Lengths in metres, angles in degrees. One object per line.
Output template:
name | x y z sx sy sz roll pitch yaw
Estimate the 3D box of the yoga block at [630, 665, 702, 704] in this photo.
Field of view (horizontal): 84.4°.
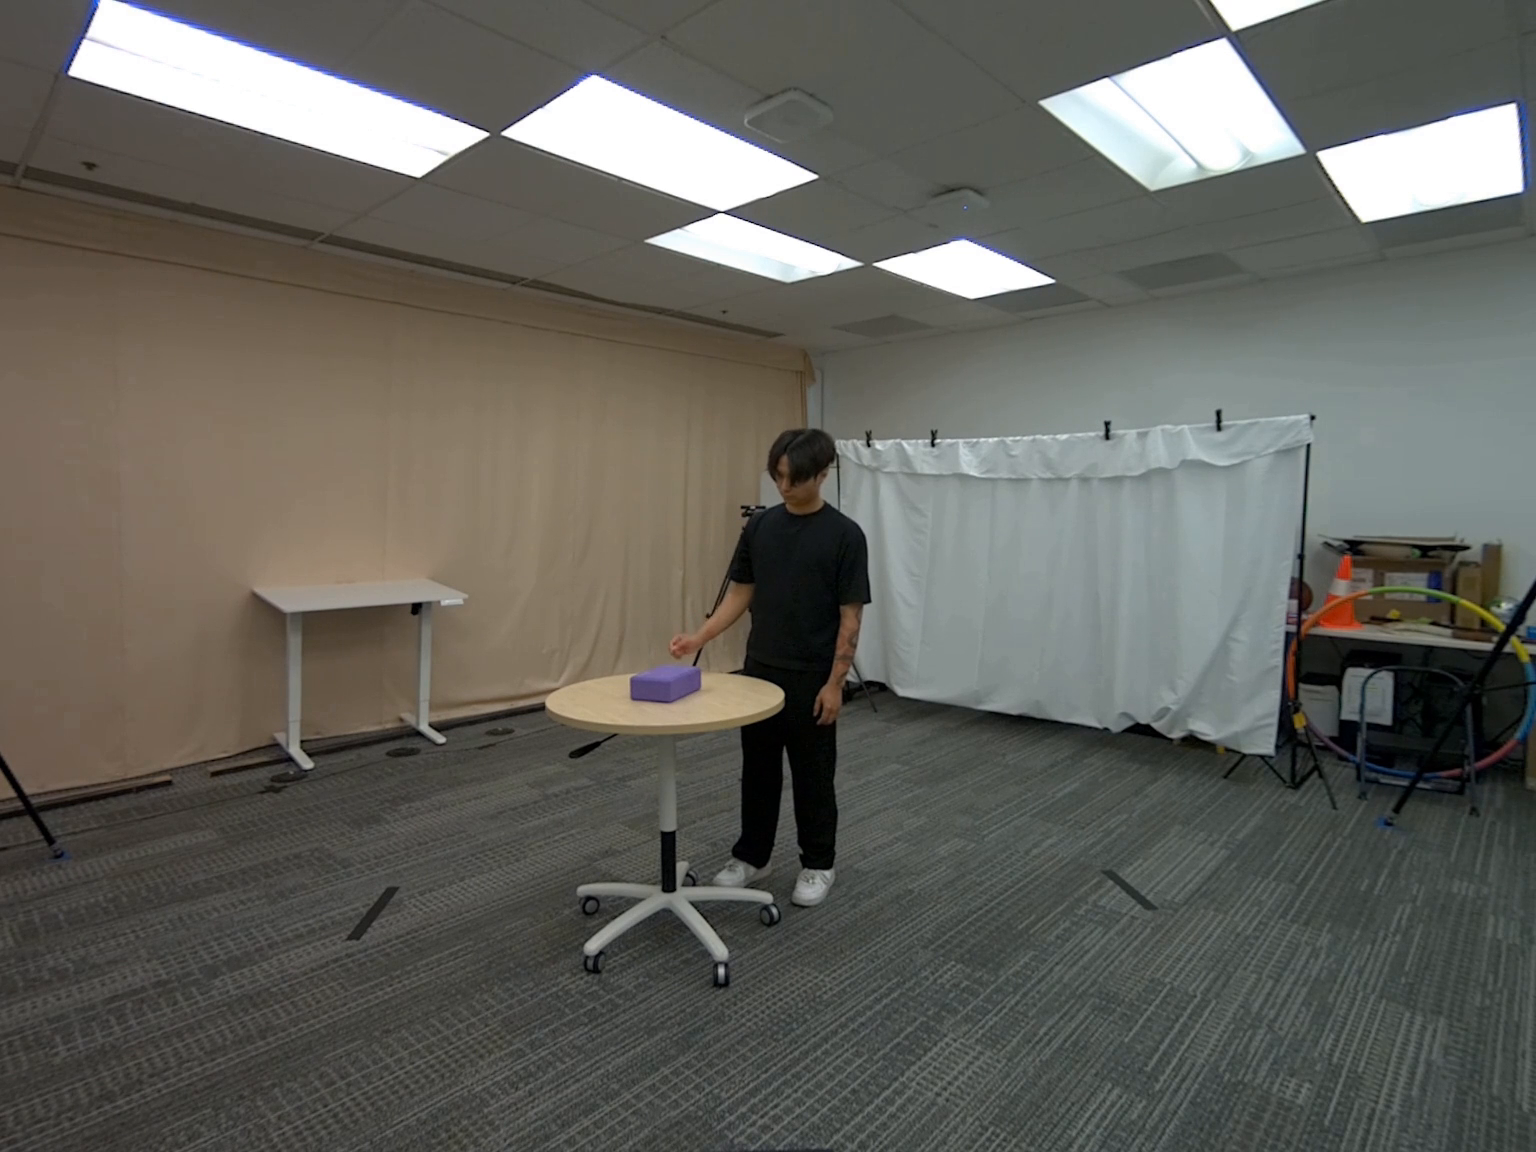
yoga block | -0.334 0.348 2.710 0.152 0.076 0.225 1 5 18
